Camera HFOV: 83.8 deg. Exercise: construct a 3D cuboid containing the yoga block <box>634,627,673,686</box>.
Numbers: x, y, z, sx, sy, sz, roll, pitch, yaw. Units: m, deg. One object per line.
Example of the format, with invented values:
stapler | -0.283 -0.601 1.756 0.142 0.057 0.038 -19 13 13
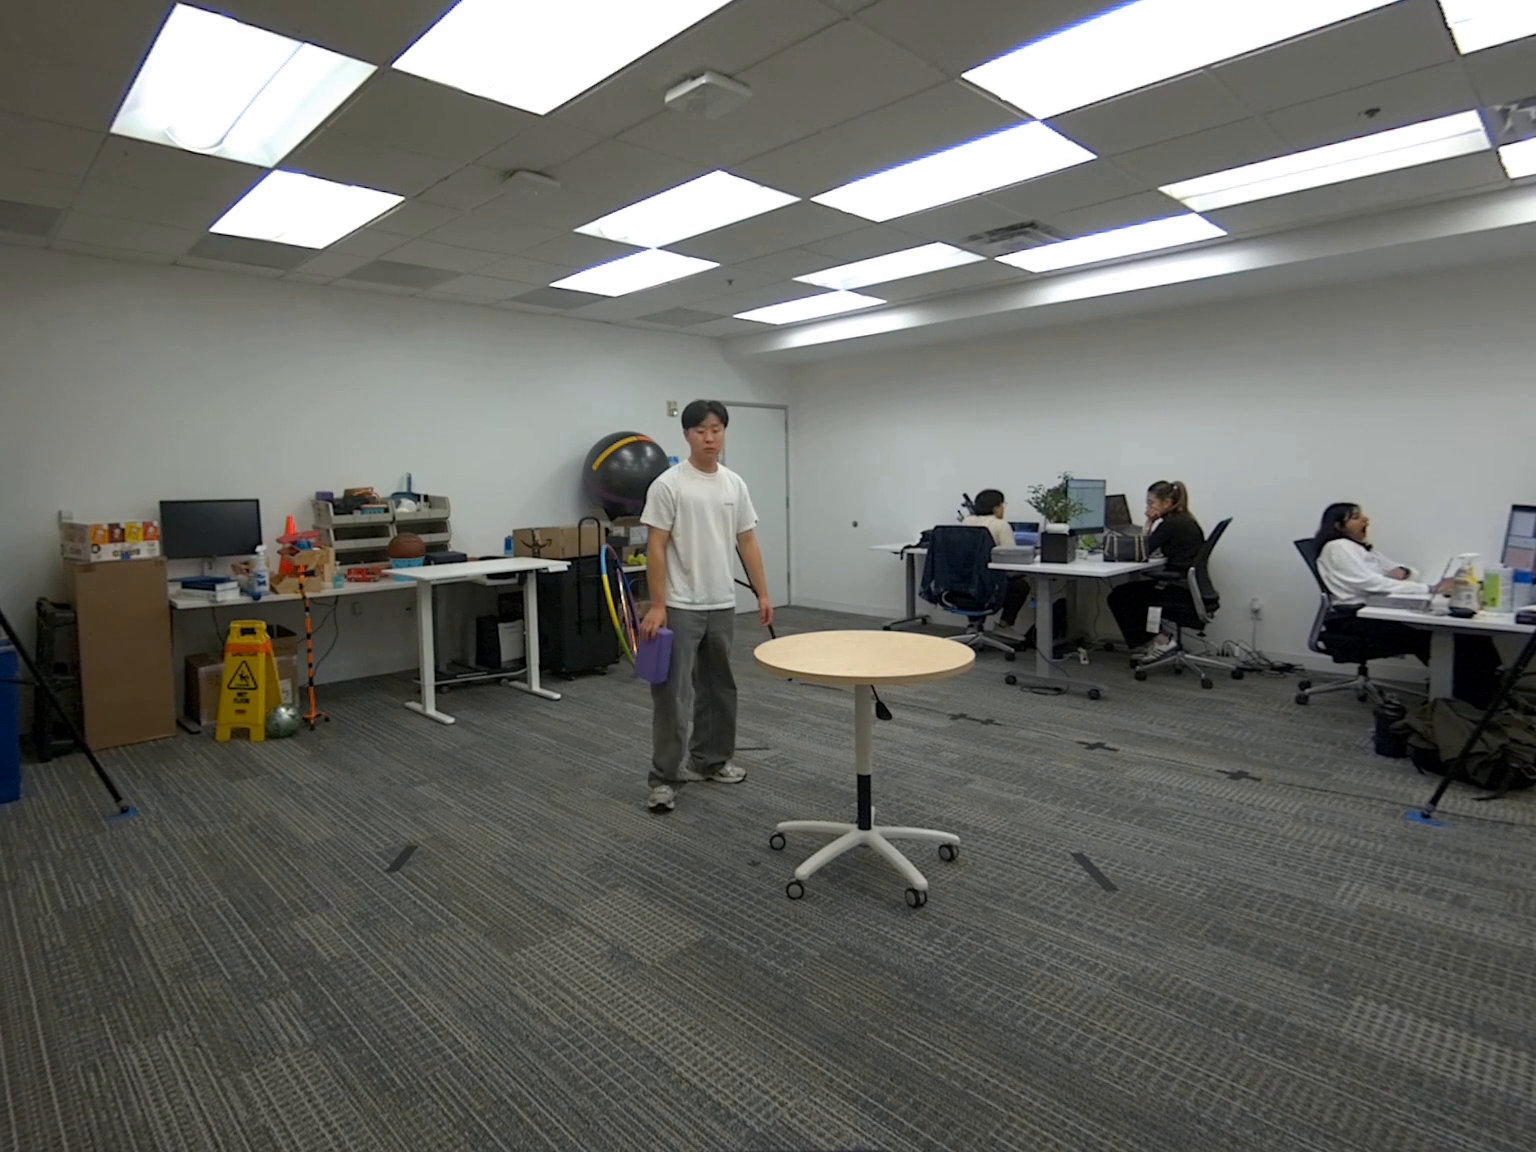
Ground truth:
yoga block | -0.490 0.334 3.653 0.154 0.228 0.074 12 10 39
